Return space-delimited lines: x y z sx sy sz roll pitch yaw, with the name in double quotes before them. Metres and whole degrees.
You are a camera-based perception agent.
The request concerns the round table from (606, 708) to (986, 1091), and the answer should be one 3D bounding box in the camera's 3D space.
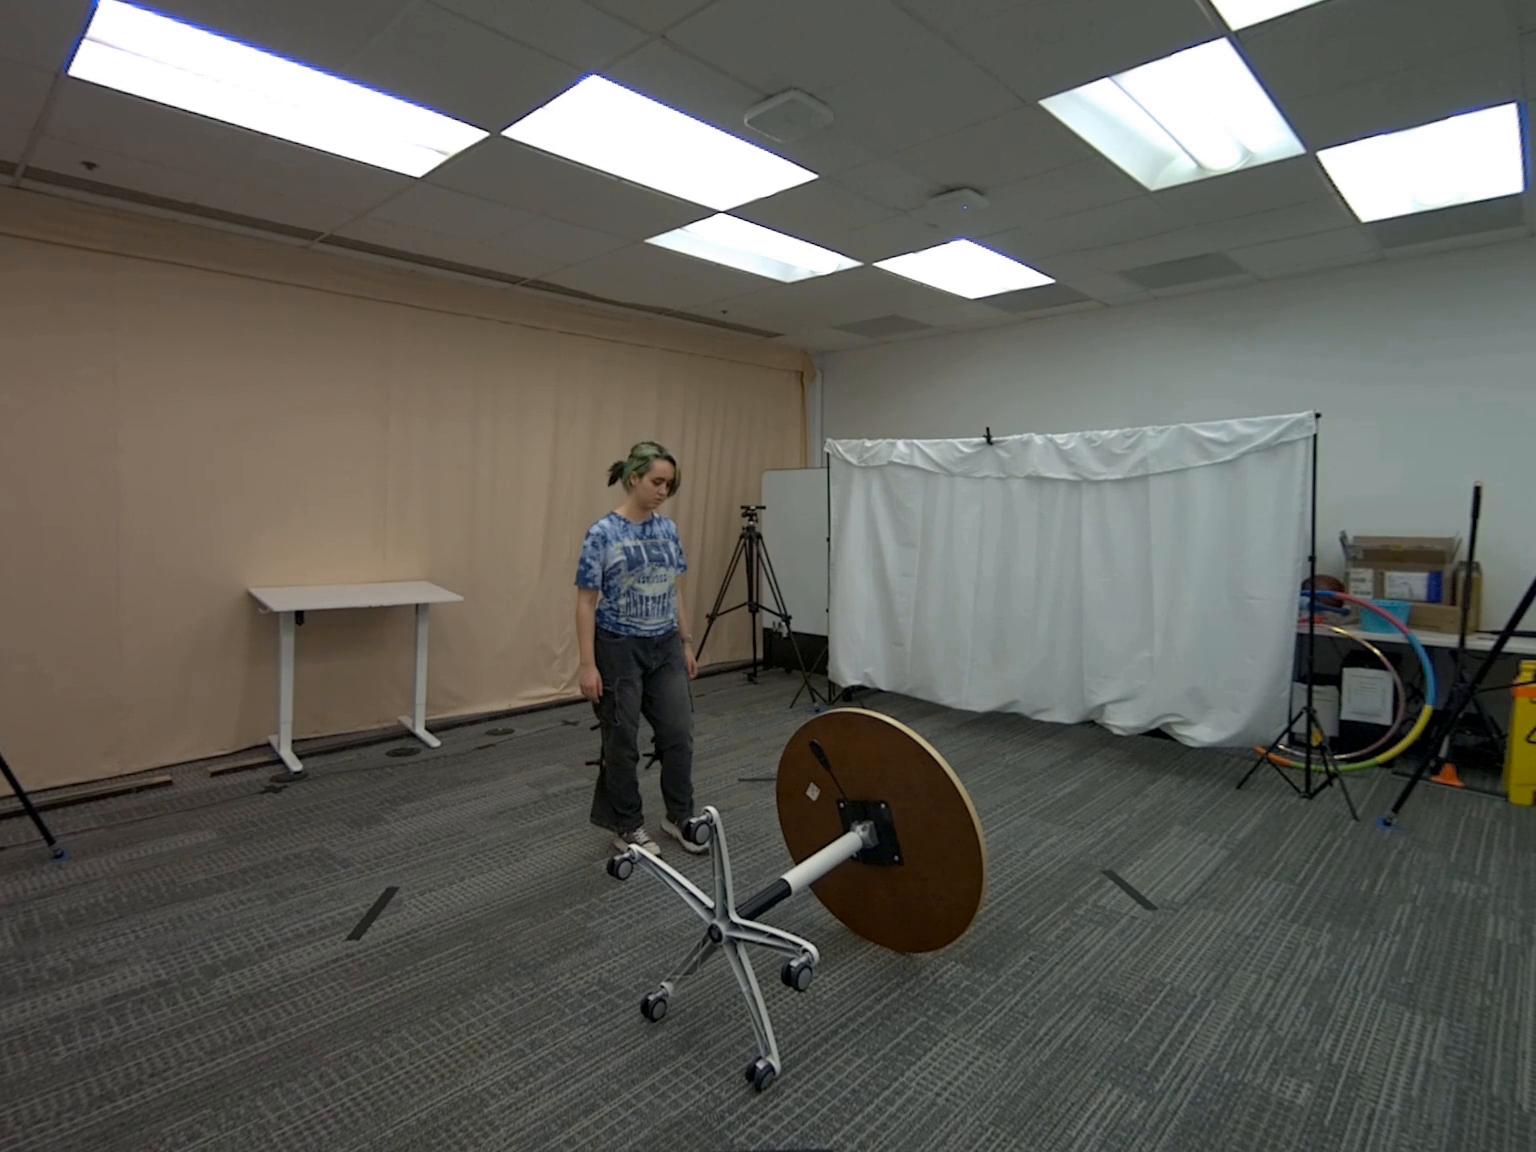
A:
"round table" 0.077 0.854 2.364 0.789 0.759 0.772 4 12 43
